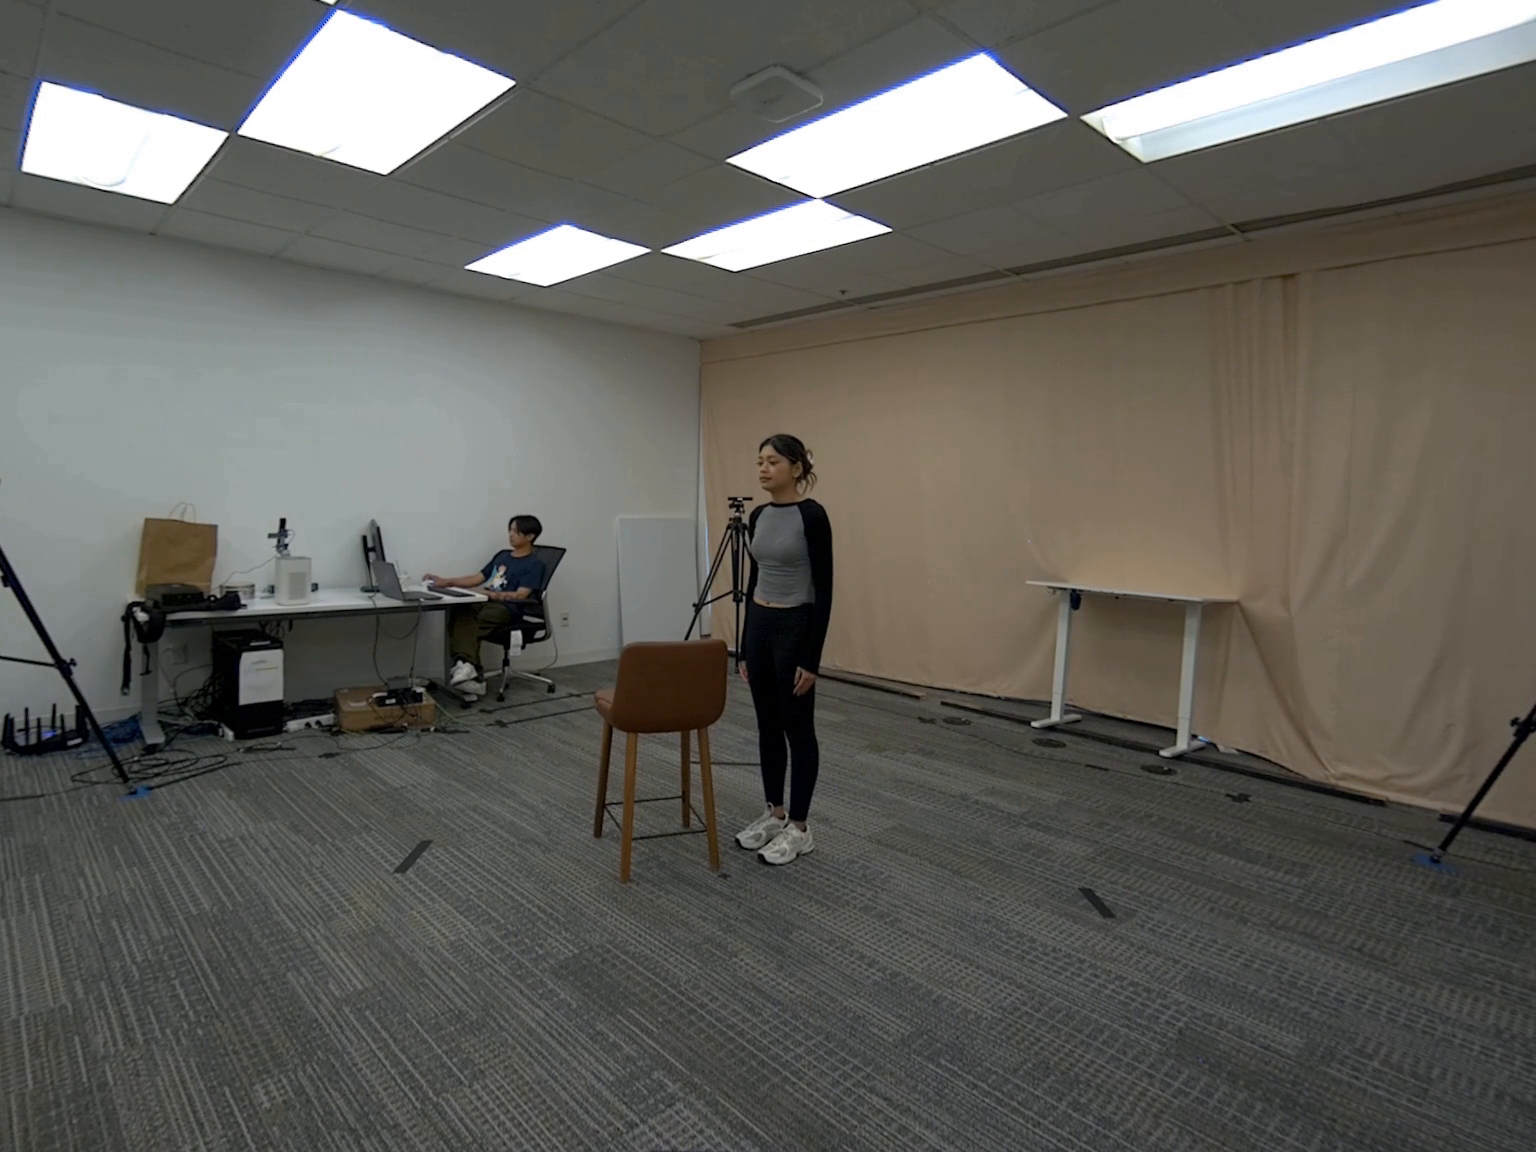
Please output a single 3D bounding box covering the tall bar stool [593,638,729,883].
[{"bbox_3d":[-0.434,0.651,3.269,0.449,0.887,0.477,0,5,-22],"label":"tall bar stool"}]
